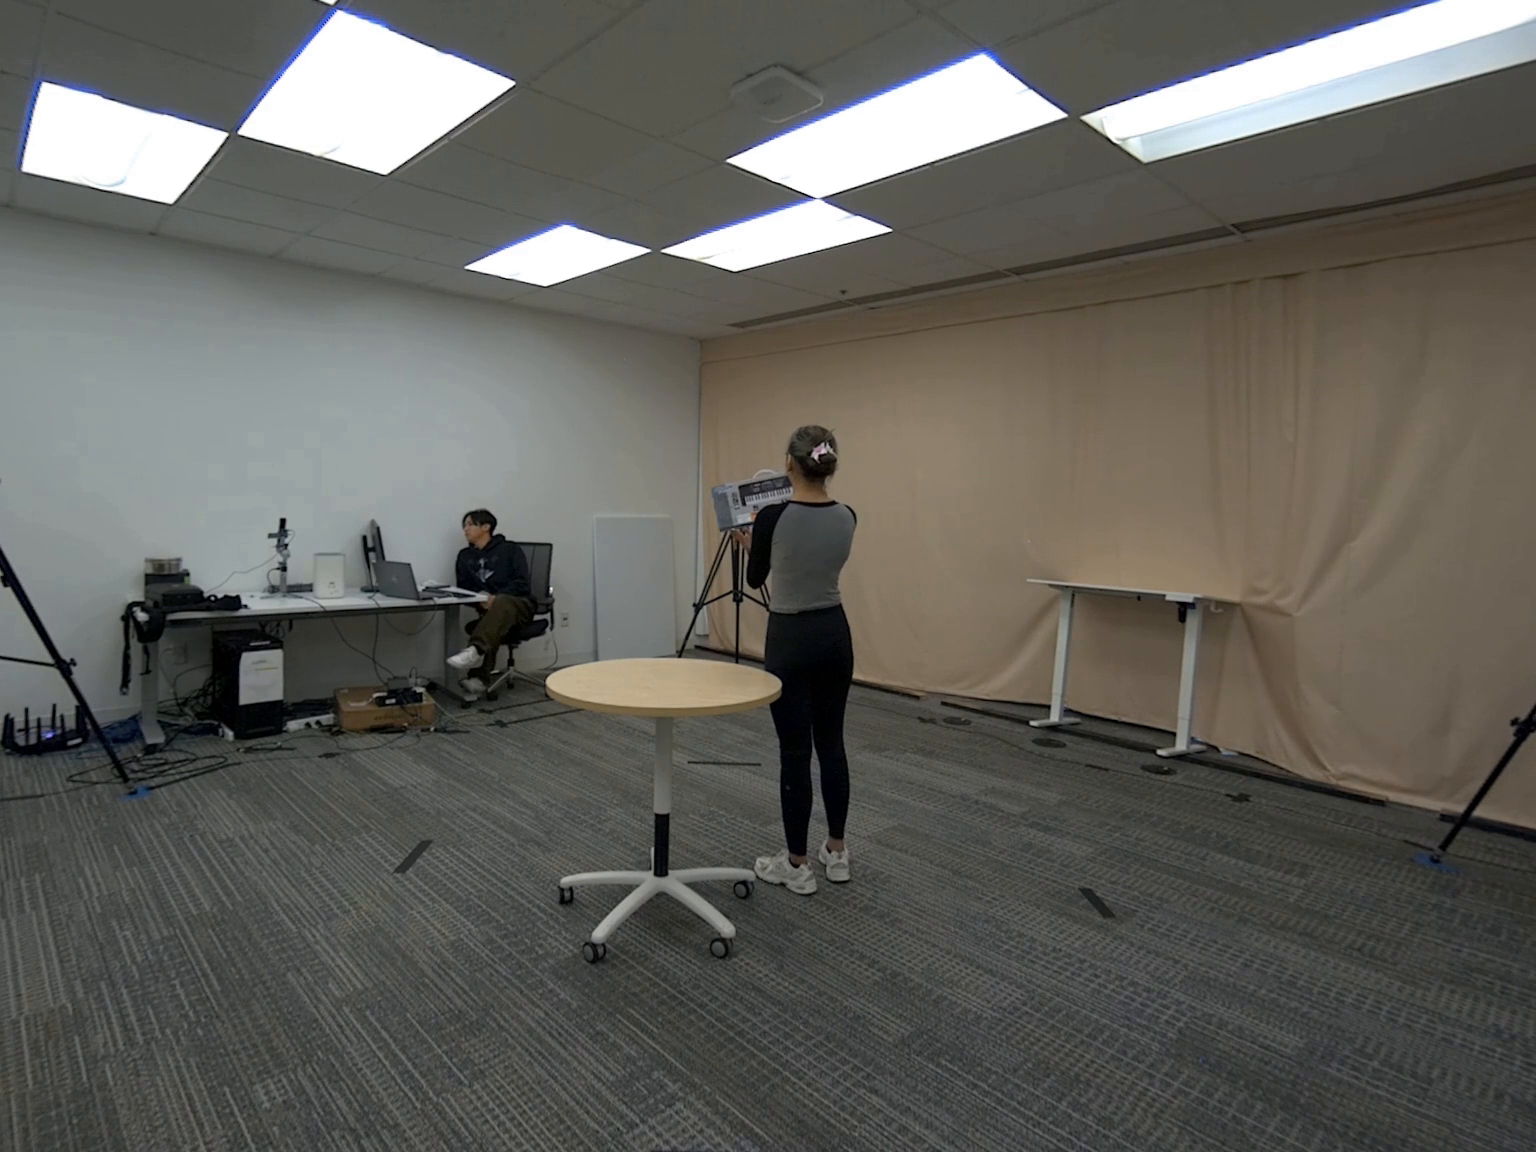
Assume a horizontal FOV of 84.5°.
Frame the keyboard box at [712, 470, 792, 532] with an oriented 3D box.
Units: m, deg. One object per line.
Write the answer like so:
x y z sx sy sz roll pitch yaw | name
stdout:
0.005 -0.302 3.300 0.437 0.178 0.058 -12 -11 0 | keyboard box
